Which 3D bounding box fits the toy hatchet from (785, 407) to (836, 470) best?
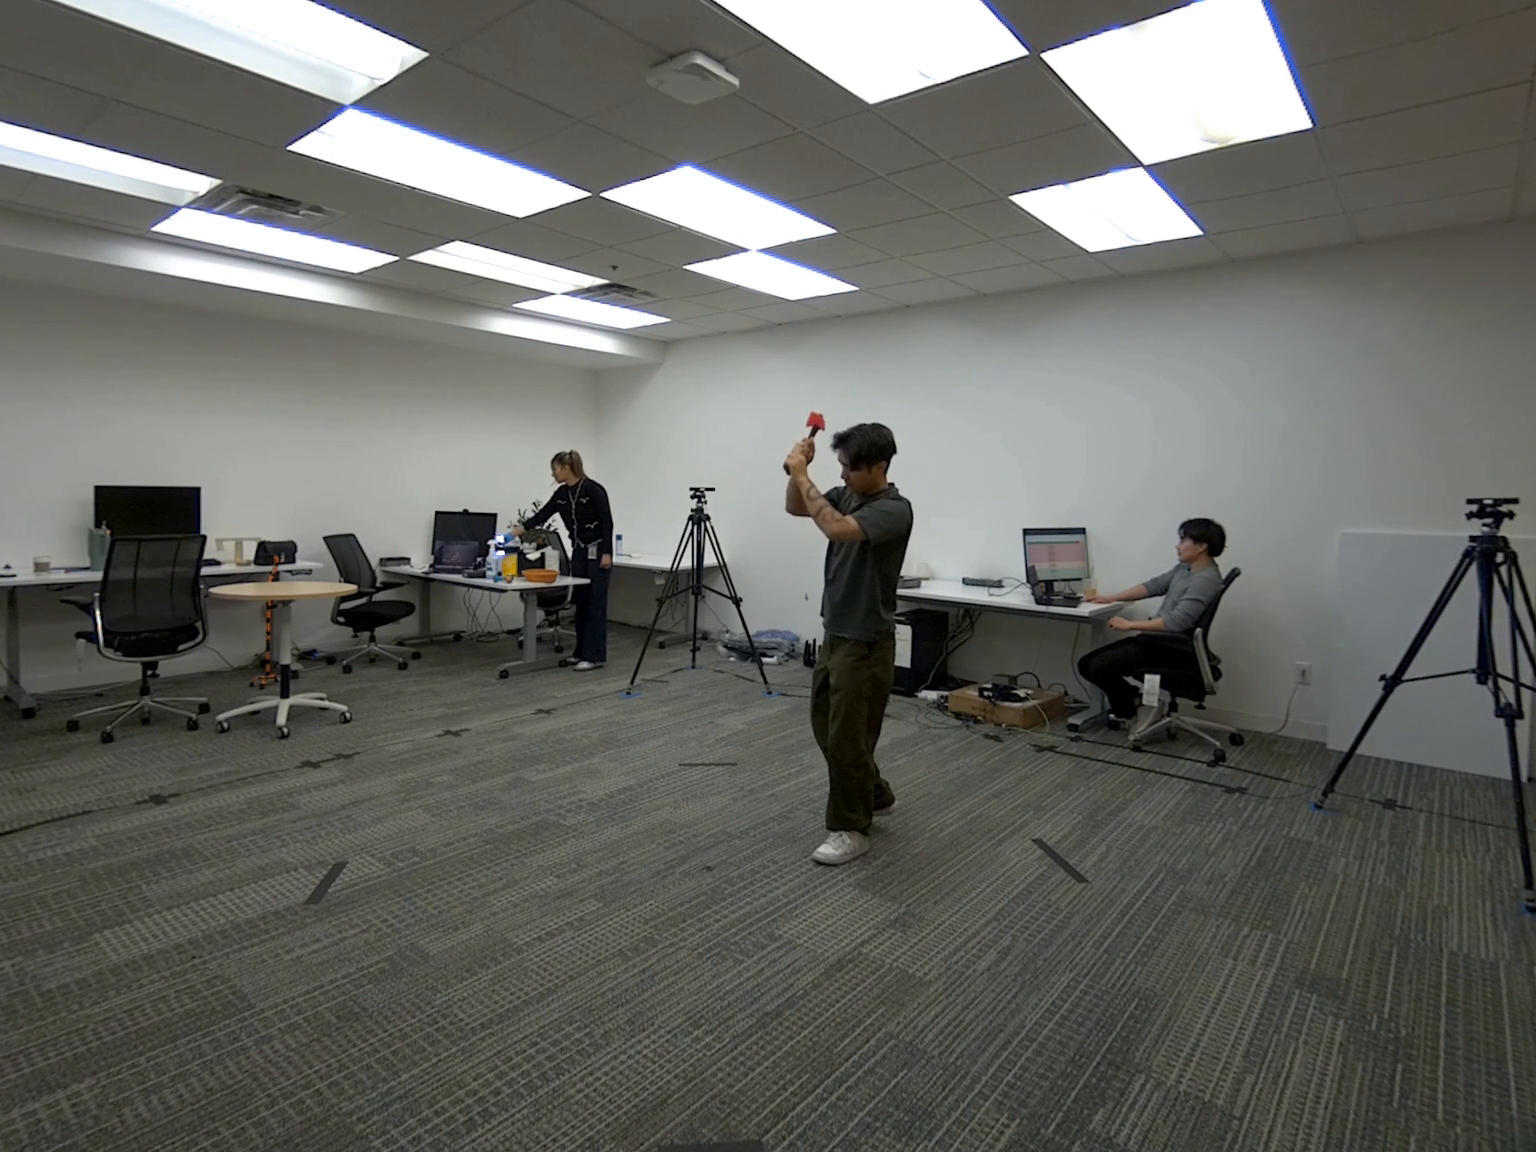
[{"bbox_3d":[0.160,-0.499,3.164,0.031,0.271,0.126,18,-32,32],"label":"toy hatchet"}]
